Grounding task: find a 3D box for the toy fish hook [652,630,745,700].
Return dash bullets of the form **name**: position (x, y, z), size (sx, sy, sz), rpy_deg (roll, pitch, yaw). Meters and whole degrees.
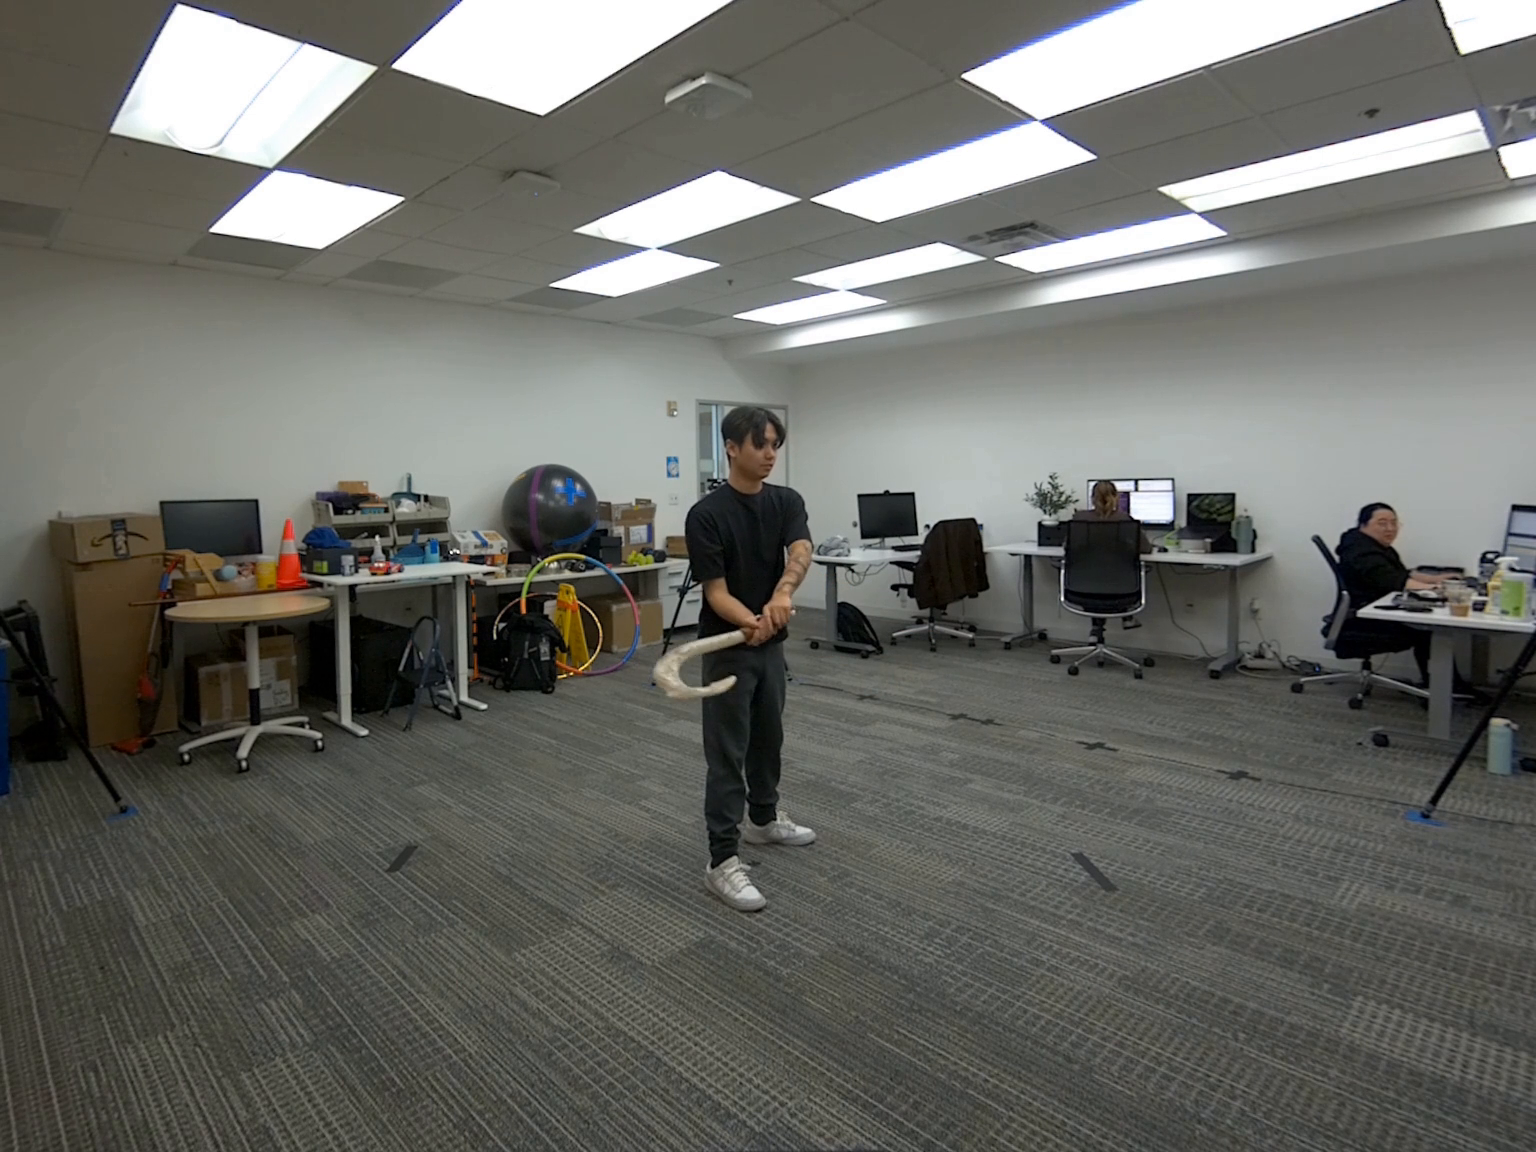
- **toy fish hook**: position (-0.084, 0.228, 2.523), size (0.501, 0.047, 0.234), rpy_deg (-23, 44, -22)
